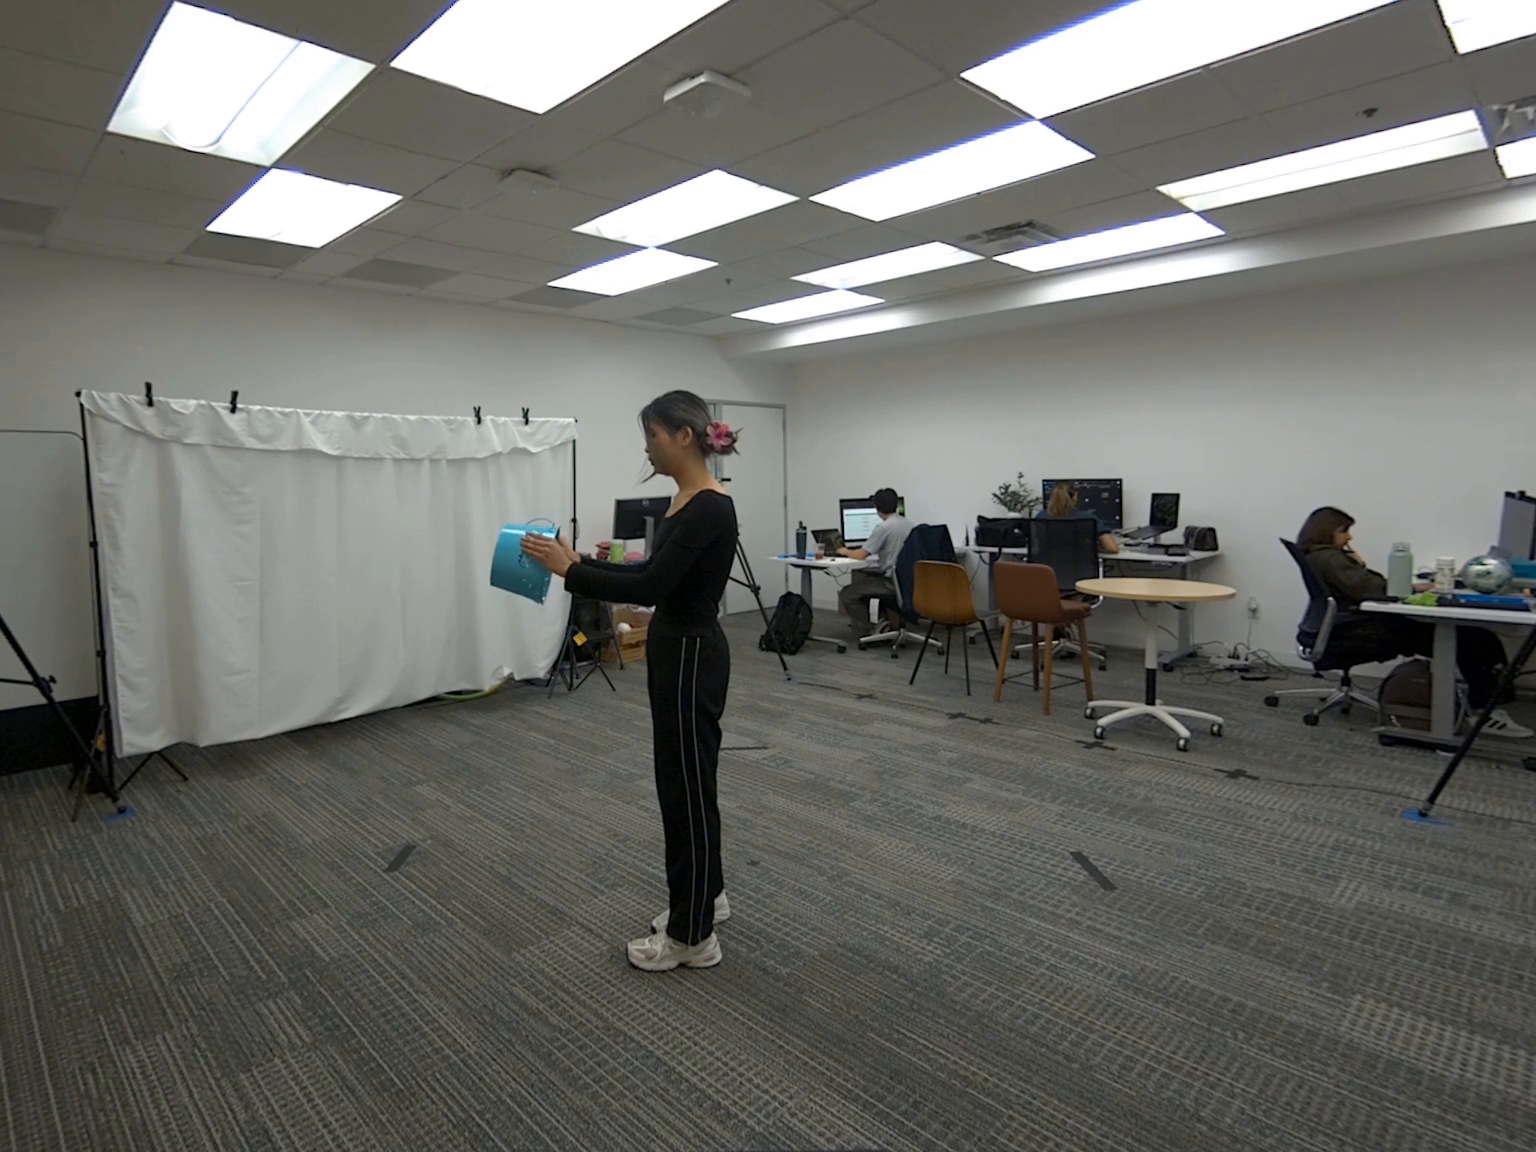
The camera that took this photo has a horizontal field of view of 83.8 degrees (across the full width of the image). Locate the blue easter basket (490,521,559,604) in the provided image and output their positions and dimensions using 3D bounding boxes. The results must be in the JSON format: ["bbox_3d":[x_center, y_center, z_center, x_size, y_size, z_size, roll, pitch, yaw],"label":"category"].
[{"bbox_3d":[-0.688,-0.052,2.424,0.154,0.243,0.246,11,3,-8],"label":"blue easter basket"}]
